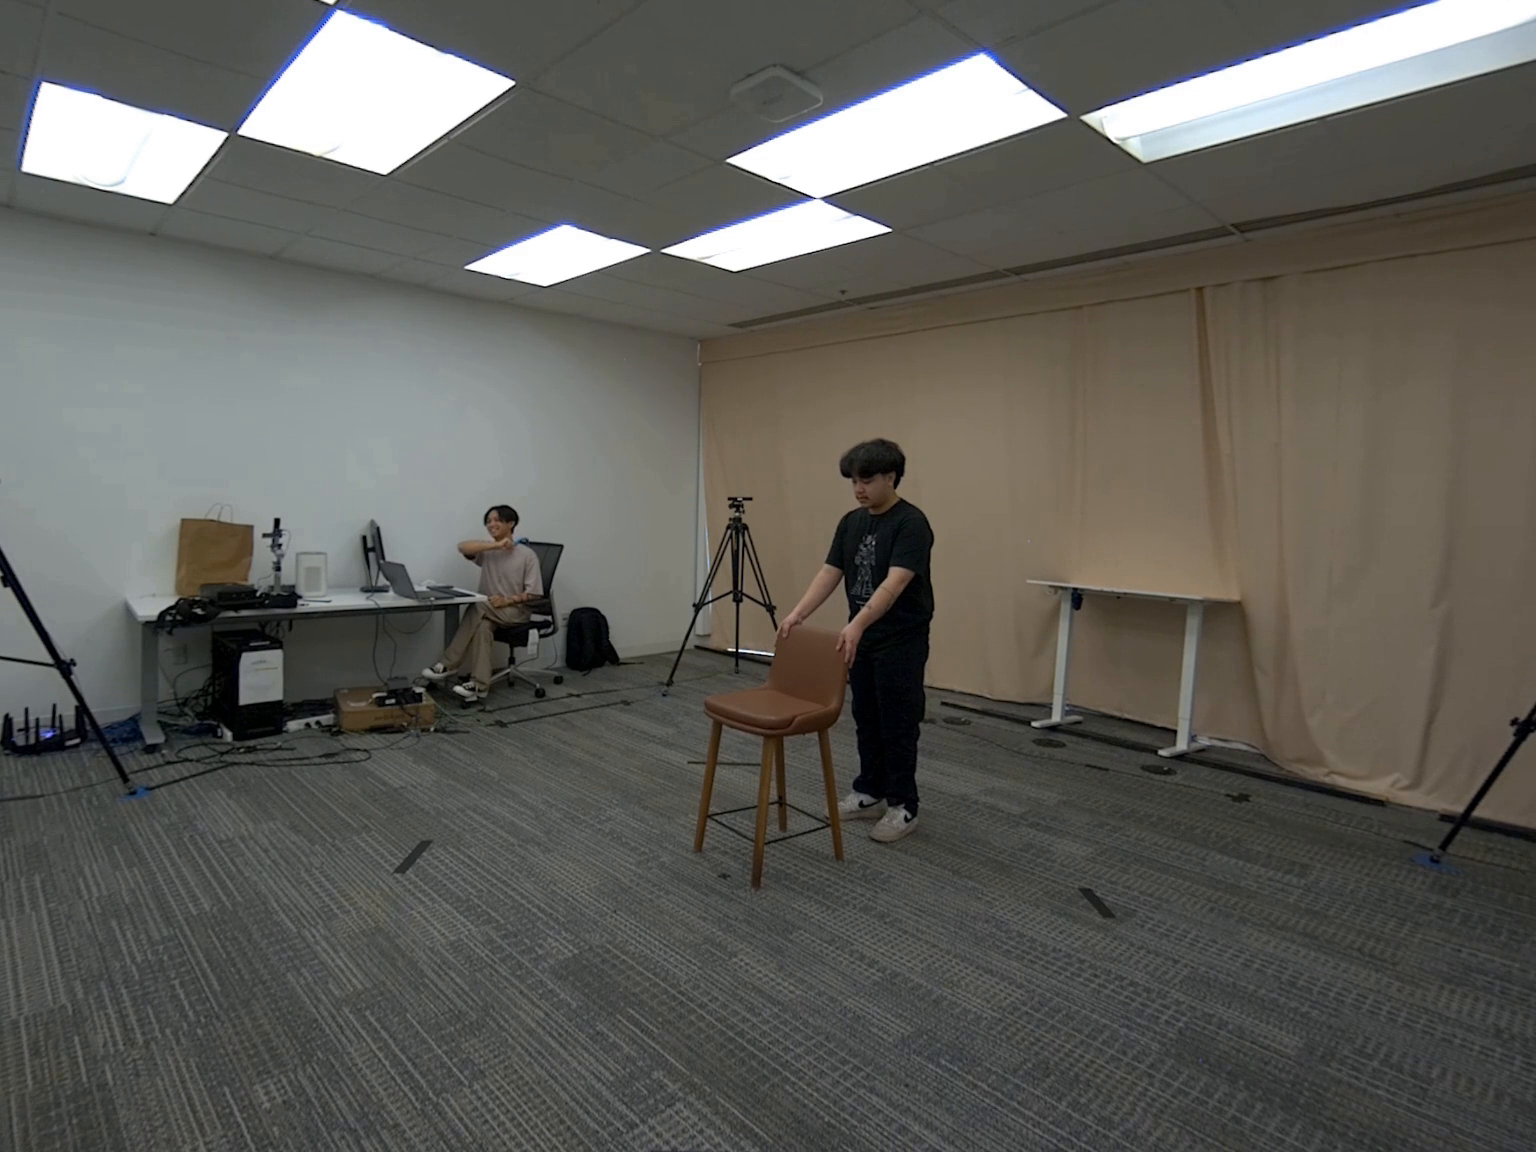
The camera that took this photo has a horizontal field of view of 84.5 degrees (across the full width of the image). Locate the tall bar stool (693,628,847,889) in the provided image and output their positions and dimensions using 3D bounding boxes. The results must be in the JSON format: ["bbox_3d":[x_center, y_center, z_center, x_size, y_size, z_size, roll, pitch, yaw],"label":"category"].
[{"bbox_3d":[0.019,0.658,3.274,0.457,0.889,0.467,1,2,-37],"label":"tall bar stool"}]
